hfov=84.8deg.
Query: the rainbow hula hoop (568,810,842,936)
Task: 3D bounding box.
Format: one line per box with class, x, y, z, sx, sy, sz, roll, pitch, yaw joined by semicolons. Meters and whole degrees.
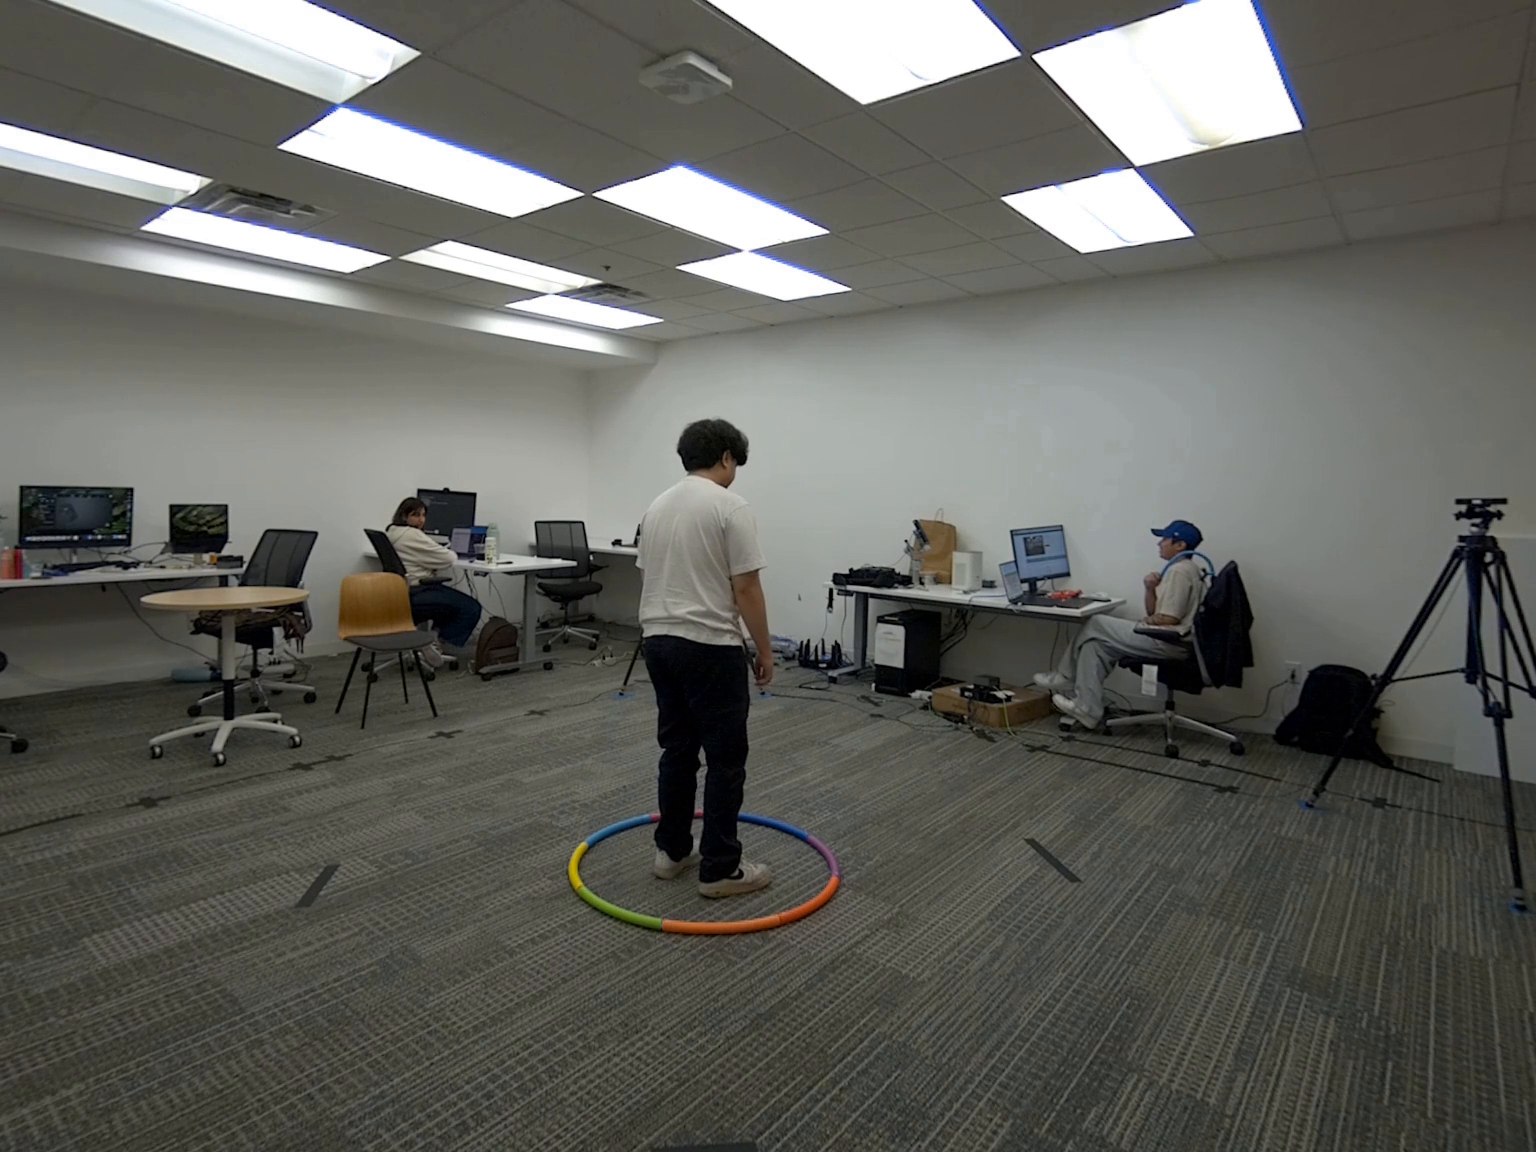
rainbow hula hoop;-0.243;1.044;3.125;0.984;0.051;0.991;1;6;-2
